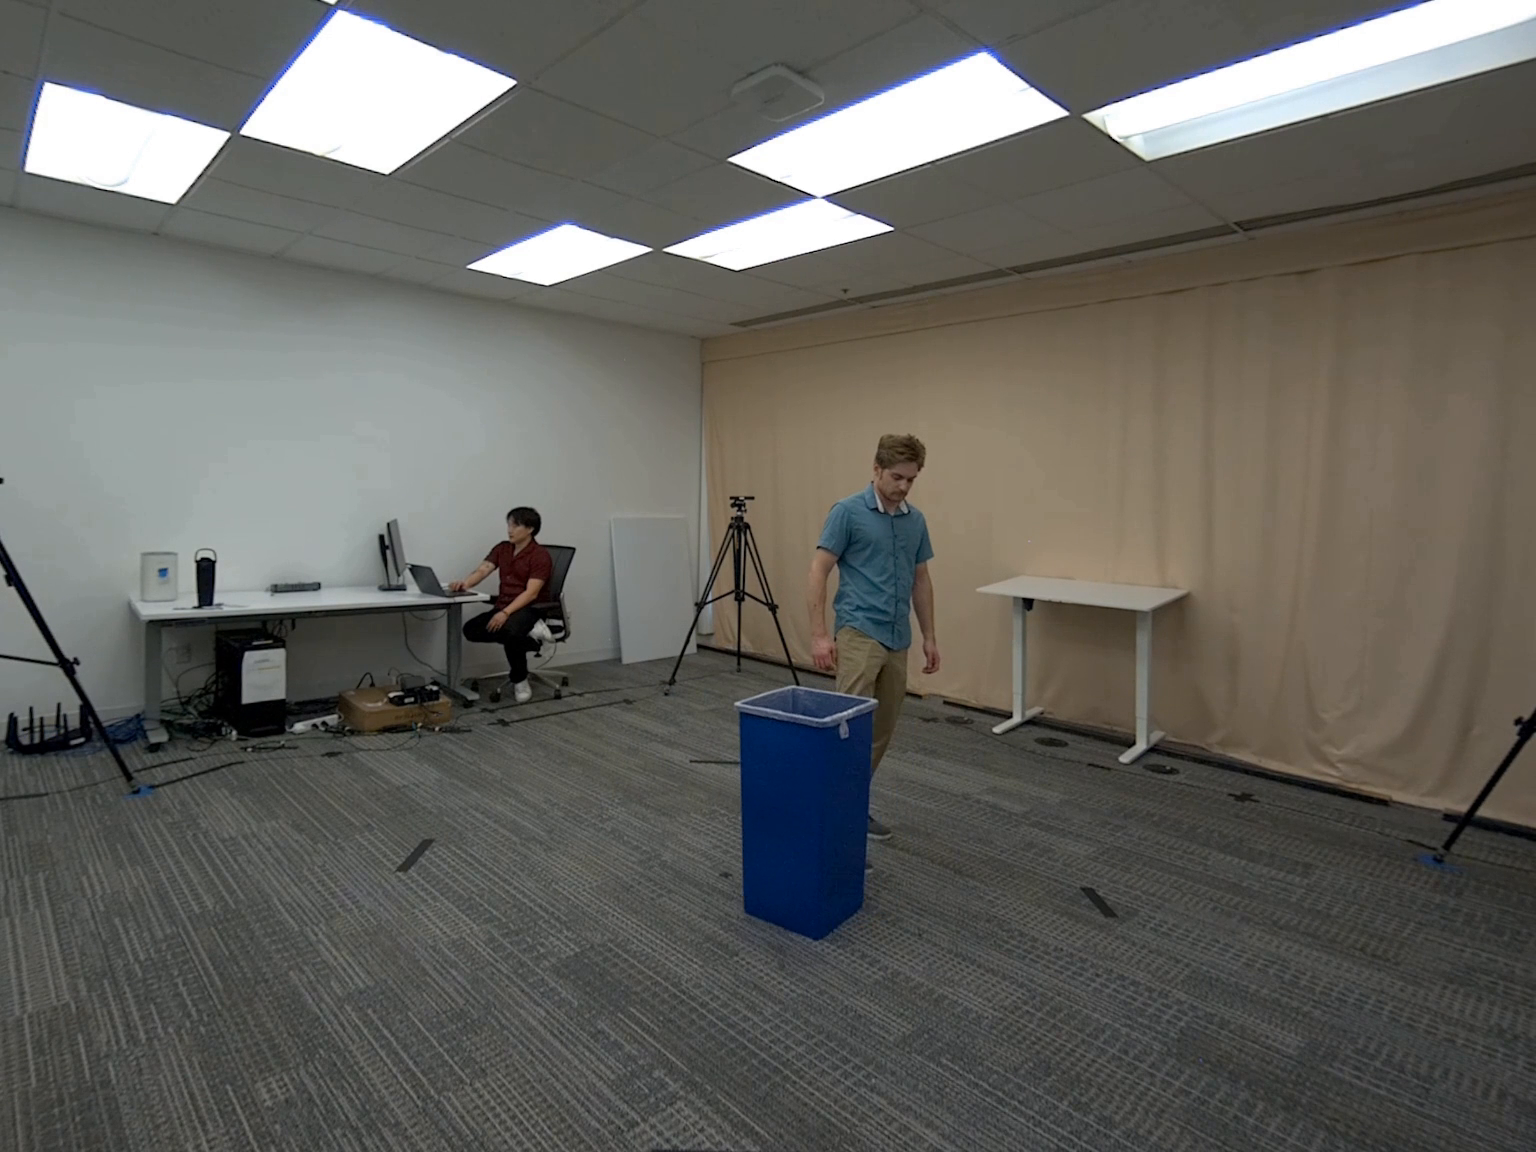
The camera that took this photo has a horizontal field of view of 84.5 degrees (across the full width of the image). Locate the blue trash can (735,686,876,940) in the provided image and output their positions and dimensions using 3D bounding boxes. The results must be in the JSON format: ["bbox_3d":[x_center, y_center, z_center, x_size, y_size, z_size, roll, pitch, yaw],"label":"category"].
[{"bbox_3d":[0.114,0.775,2.840,0.383,0.712,0.370,4,4,36],"label":"blue trash can"}]
